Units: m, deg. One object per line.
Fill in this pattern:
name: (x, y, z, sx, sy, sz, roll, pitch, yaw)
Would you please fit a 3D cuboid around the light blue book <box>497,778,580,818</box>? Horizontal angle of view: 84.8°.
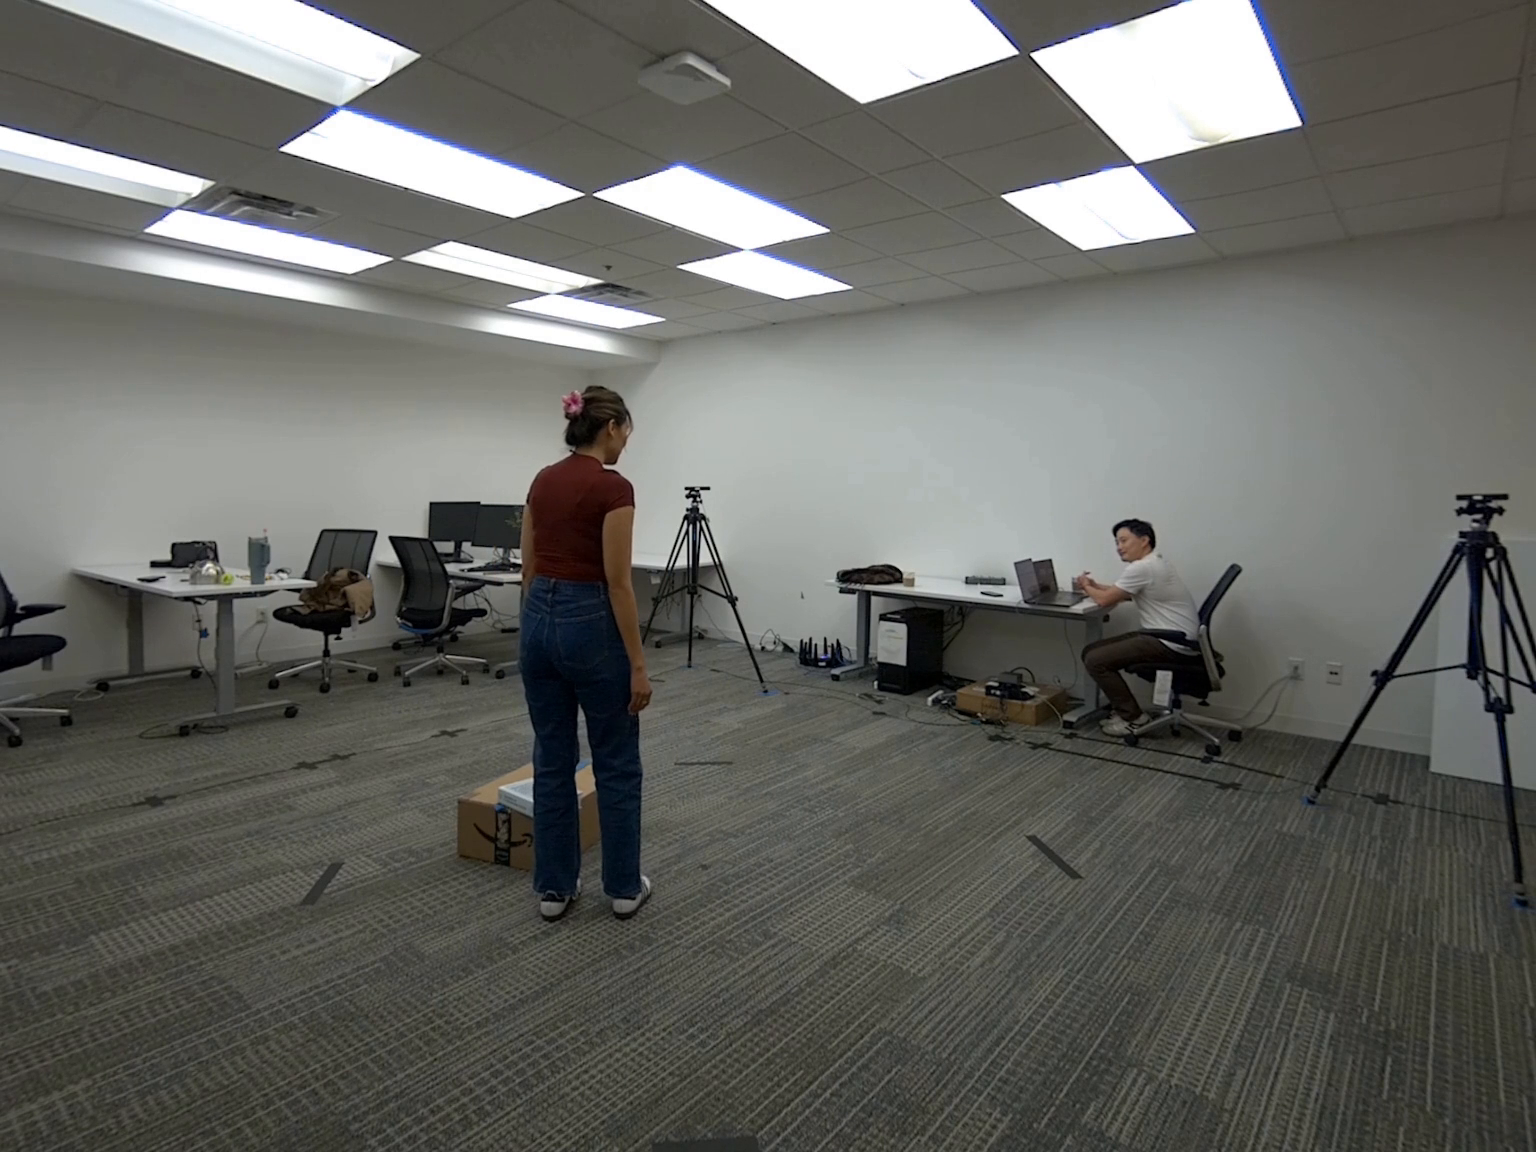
light blue book: (-0.845, 0.808, 3.121, 0.270, 0.059, 0.186, 6, 6, 38)
